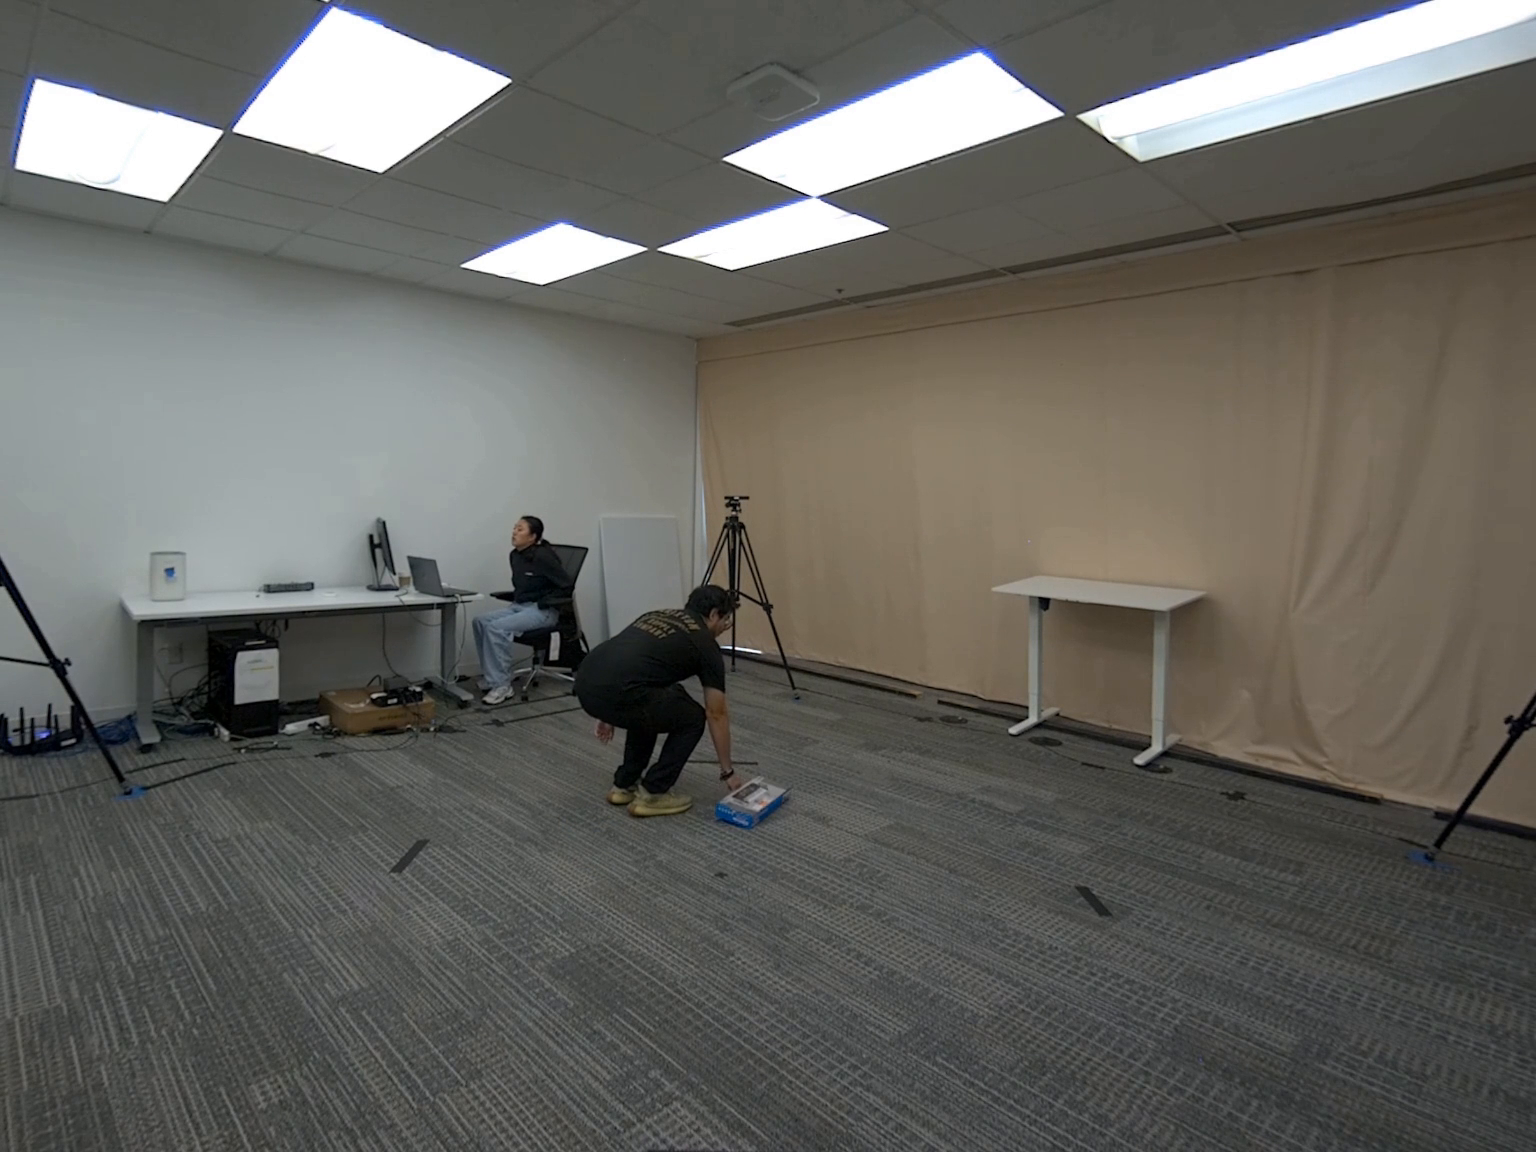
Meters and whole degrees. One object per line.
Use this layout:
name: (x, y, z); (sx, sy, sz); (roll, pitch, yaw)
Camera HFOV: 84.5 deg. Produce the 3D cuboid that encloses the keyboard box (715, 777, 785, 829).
keyboard box: (-0.067, 1.007, 3.773); (0.180, 0.059, 0.429); (13, 9, 23)
